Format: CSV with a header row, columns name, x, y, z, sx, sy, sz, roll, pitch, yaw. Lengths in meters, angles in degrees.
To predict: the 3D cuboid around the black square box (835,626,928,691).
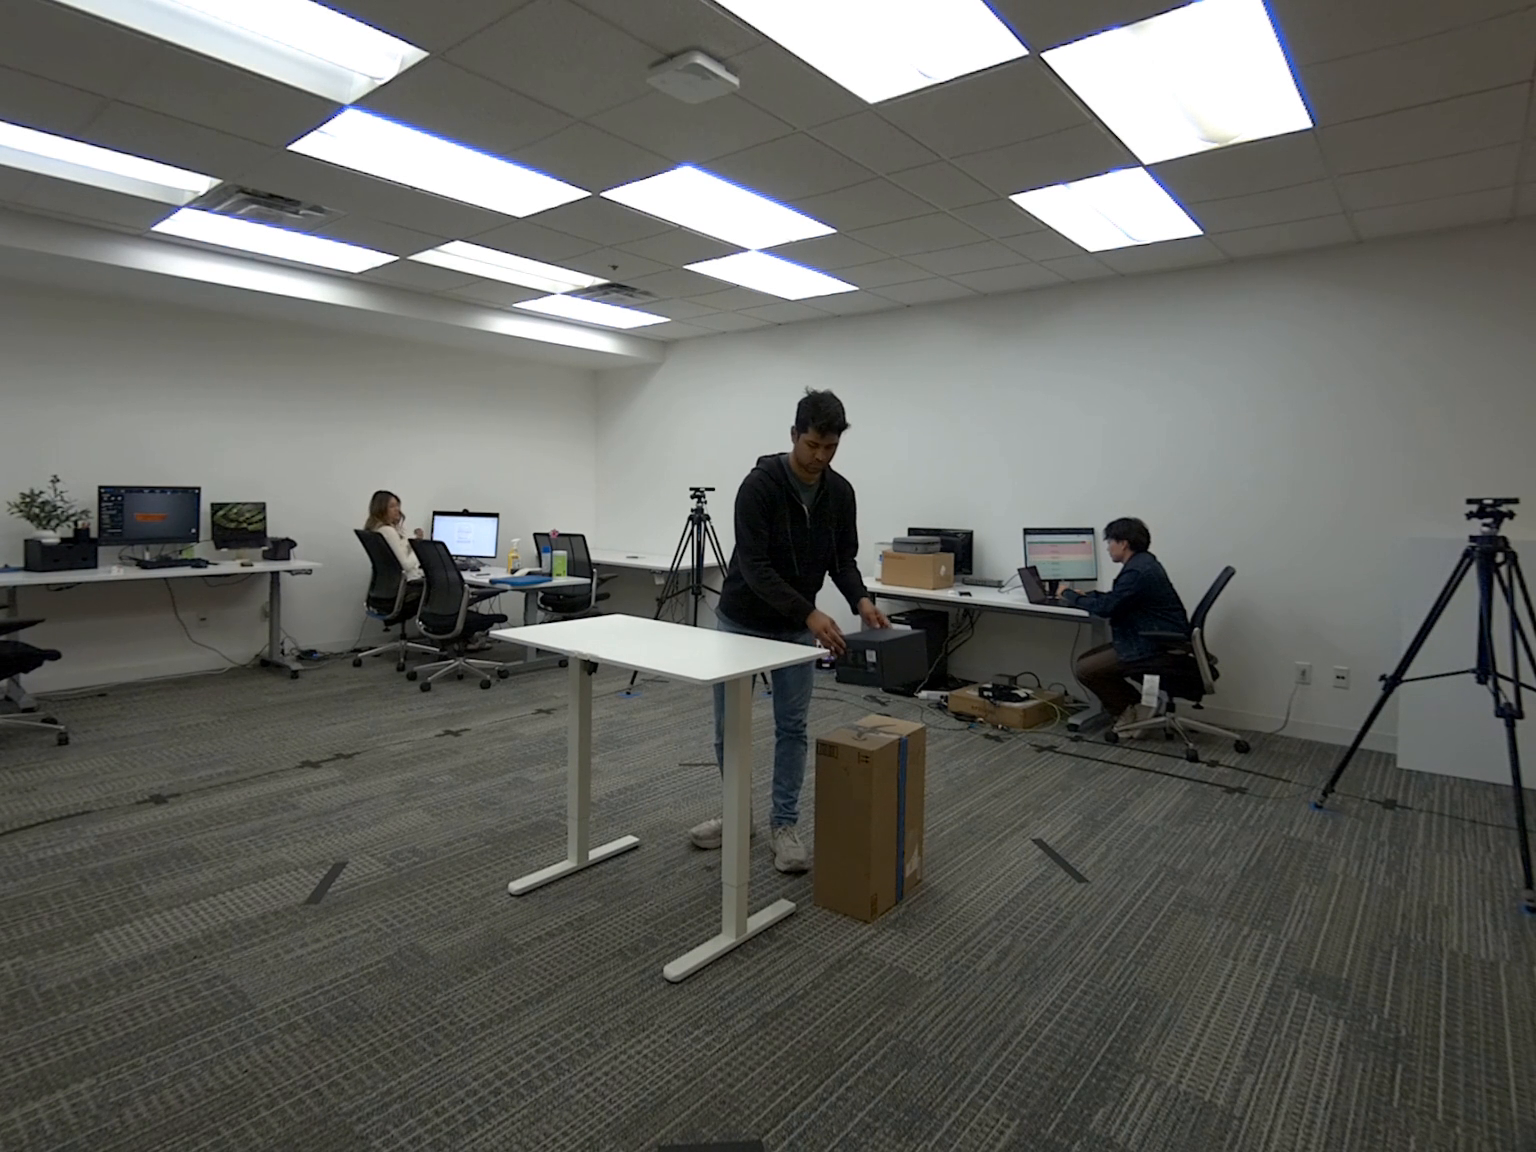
name,x,y,z,sx,sy,sz,roll,pitch,yaw
black square box,0.354,0.268,2.836,0.222,0.156,0.223,-8,3,-39
